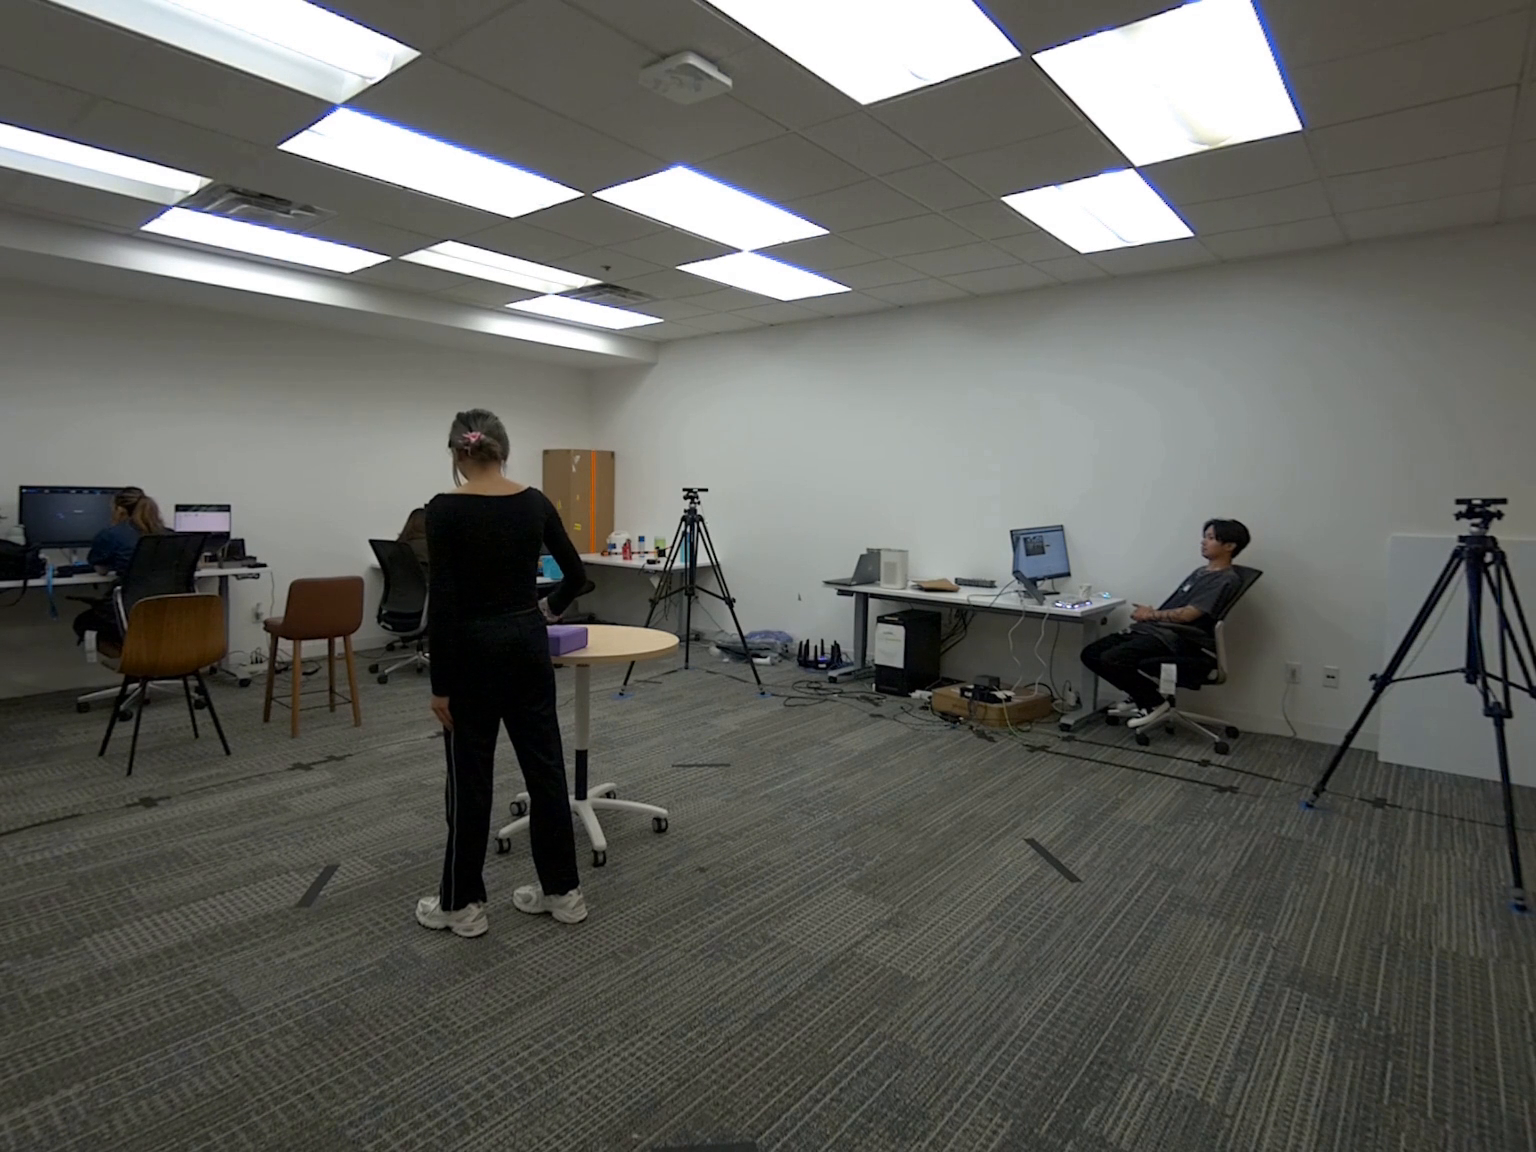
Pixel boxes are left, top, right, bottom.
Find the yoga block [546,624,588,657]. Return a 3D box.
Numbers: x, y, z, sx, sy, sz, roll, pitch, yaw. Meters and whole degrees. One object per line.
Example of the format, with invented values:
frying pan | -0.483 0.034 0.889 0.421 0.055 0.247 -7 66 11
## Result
yoga block | -0.794 0.232 3.123 0.152 0.076 0.226 2 4 16
